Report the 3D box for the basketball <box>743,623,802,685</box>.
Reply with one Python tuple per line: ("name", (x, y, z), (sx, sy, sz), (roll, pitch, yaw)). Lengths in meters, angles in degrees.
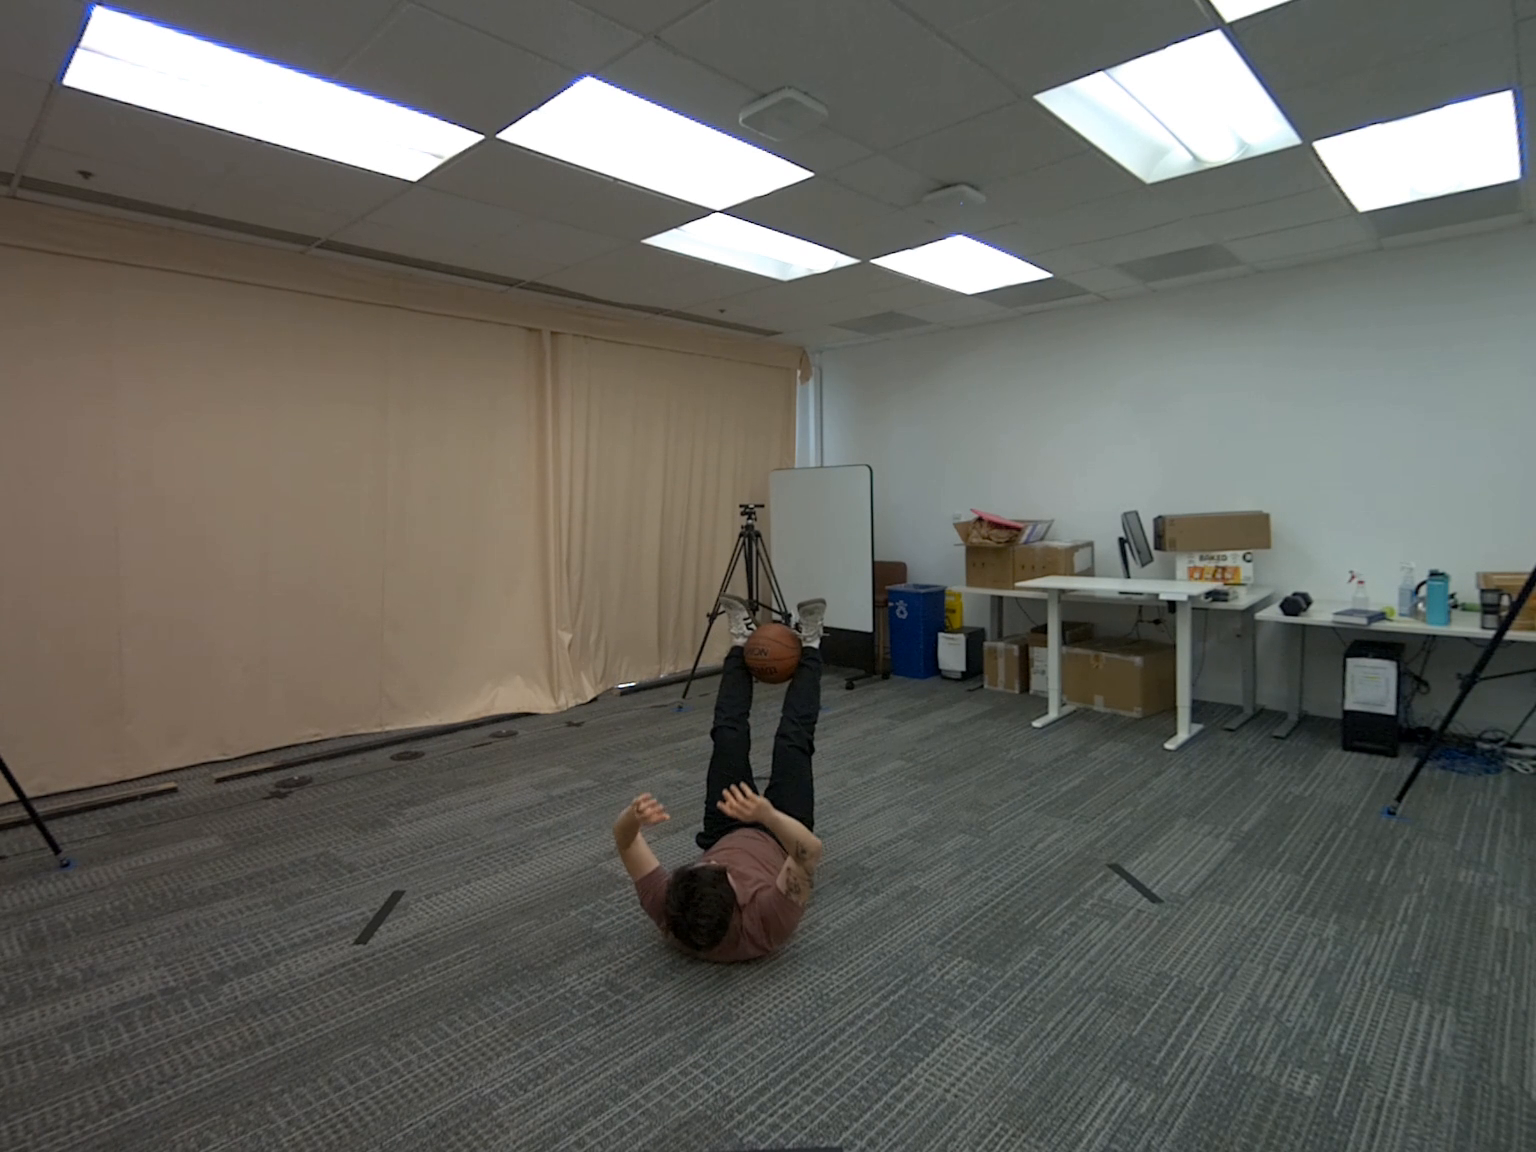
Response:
("basketball", (0.030, 0.311, 3.287), (0.235, 0.235, 0.237), (3, 5, -2))
